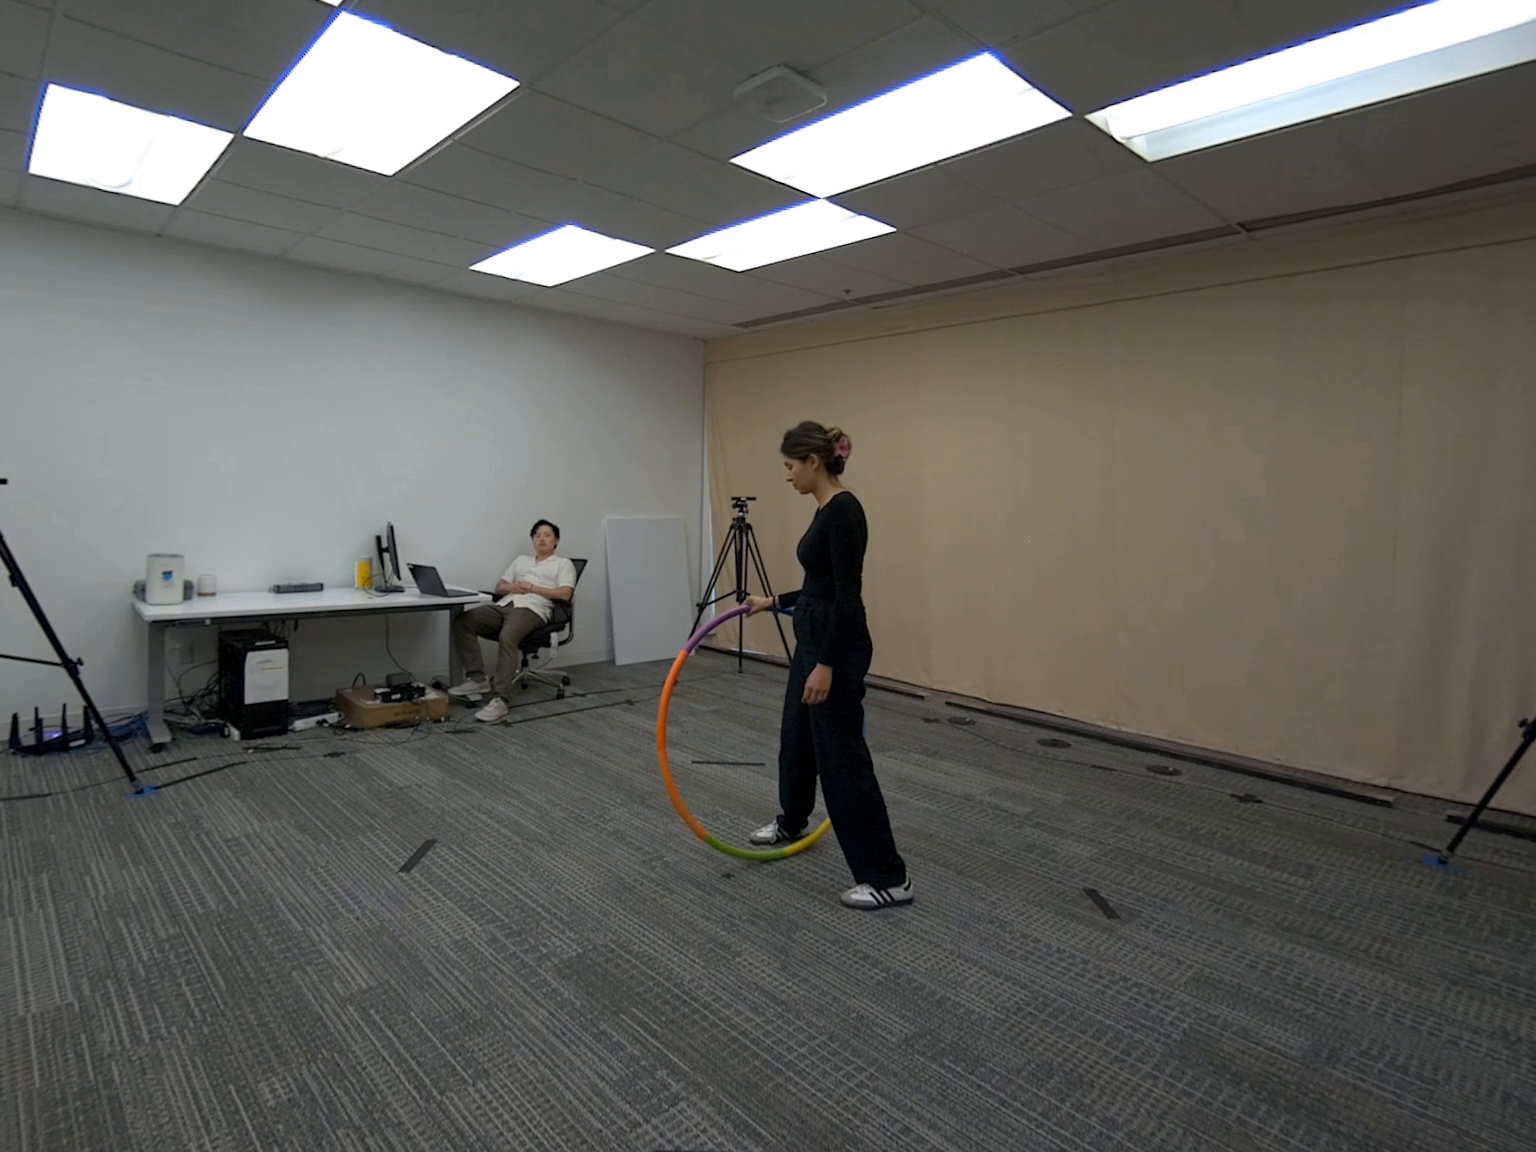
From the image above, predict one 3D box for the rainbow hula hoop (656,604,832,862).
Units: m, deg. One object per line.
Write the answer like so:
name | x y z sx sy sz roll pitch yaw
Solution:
rainbow hula hoop | 0.002 0.596 3.314 0.958 0.983 0.036 -1 -7 -33
